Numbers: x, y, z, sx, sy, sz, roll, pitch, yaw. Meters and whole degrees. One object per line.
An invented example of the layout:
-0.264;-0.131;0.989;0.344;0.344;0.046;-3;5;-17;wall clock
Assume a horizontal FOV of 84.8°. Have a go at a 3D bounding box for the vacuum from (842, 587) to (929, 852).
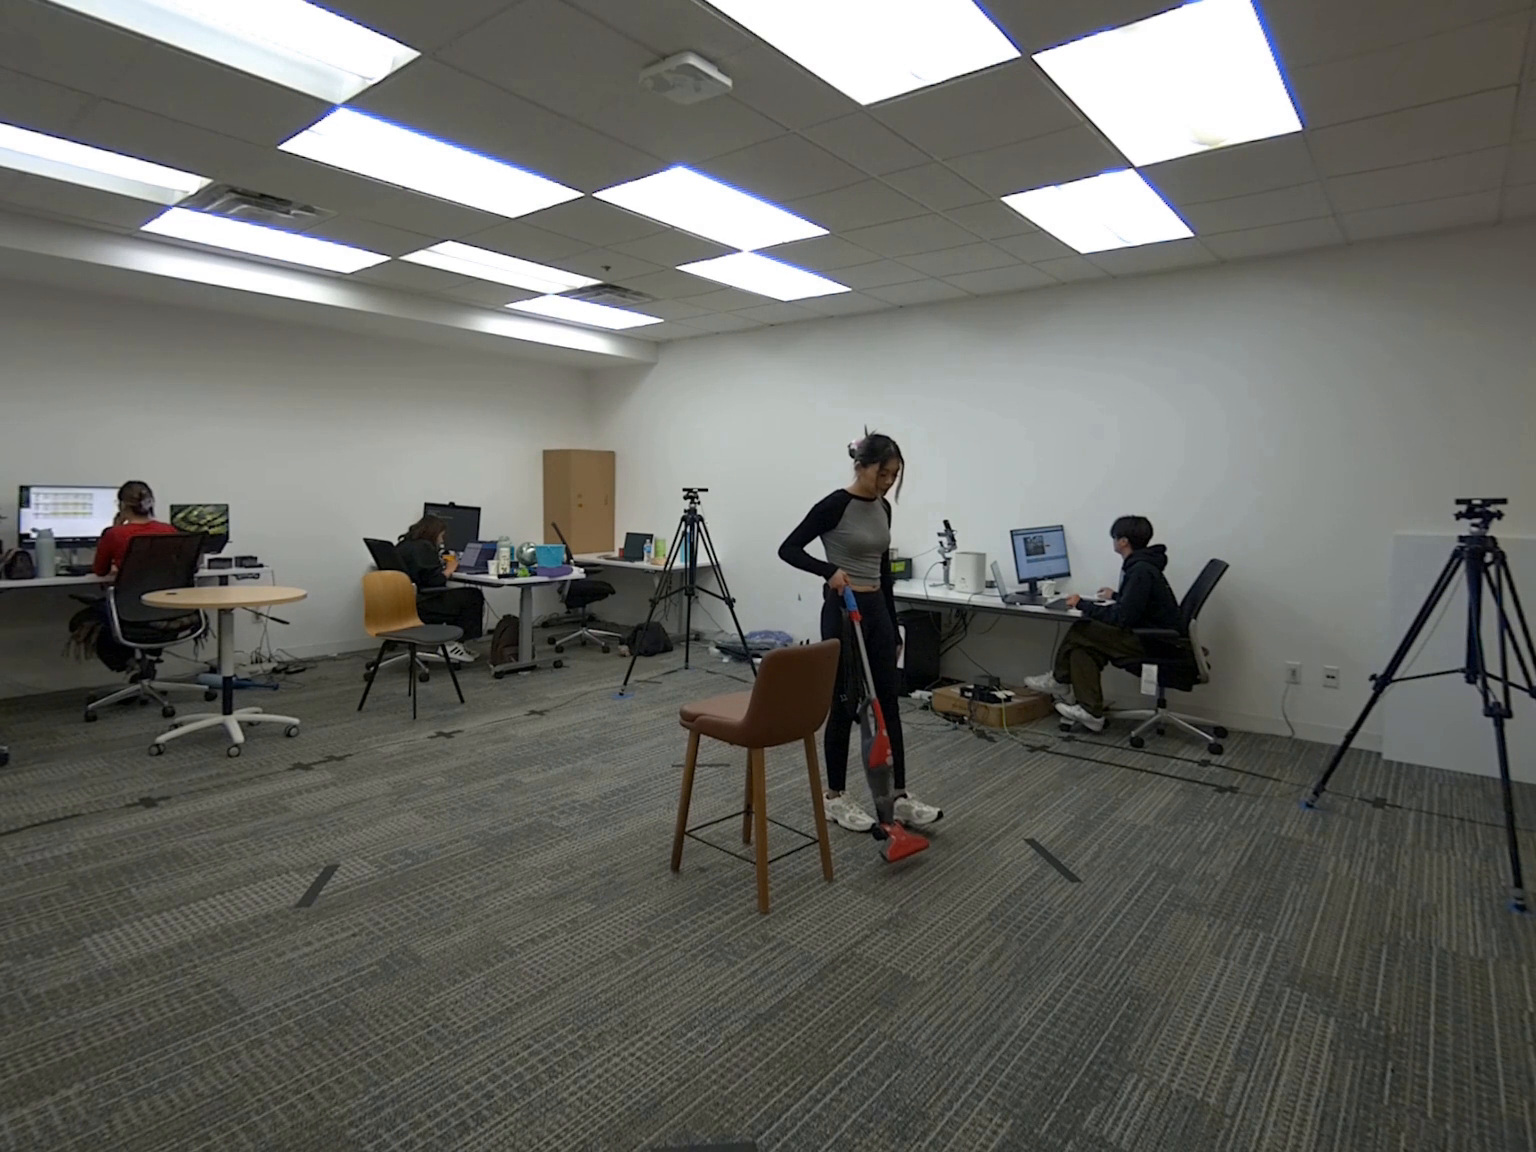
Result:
0.372;0.470;3.294;0.245;1.065;0.146;-2;-16;-39;vacuum
